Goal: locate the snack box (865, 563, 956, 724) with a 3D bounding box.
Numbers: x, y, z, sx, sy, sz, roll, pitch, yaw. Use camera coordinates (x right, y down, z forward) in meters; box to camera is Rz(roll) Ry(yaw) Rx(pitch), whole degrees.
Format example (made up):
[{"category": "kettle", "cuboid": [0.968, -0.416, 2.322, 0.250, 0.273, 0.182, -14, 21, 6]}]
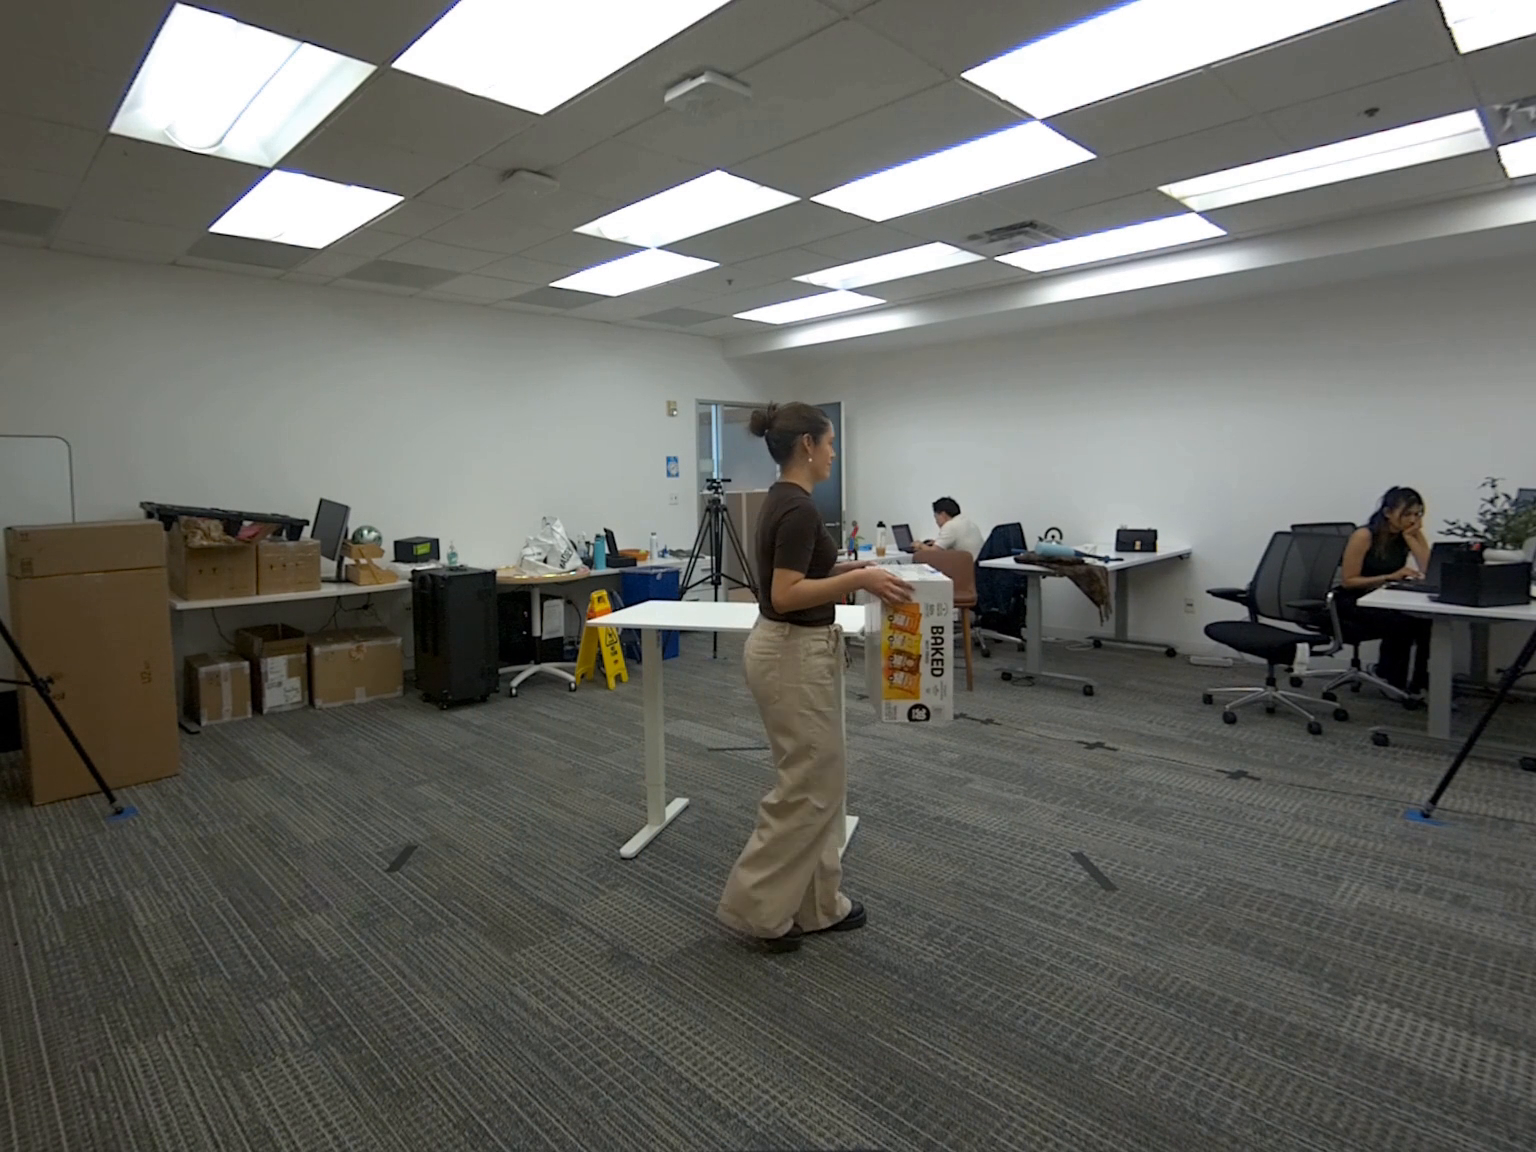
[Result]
[{"category": "snack box", "cuboid": [0.410, 0.187, 2.552, 0.206, 0.403, 0.342, -1, 7, -1]}]
